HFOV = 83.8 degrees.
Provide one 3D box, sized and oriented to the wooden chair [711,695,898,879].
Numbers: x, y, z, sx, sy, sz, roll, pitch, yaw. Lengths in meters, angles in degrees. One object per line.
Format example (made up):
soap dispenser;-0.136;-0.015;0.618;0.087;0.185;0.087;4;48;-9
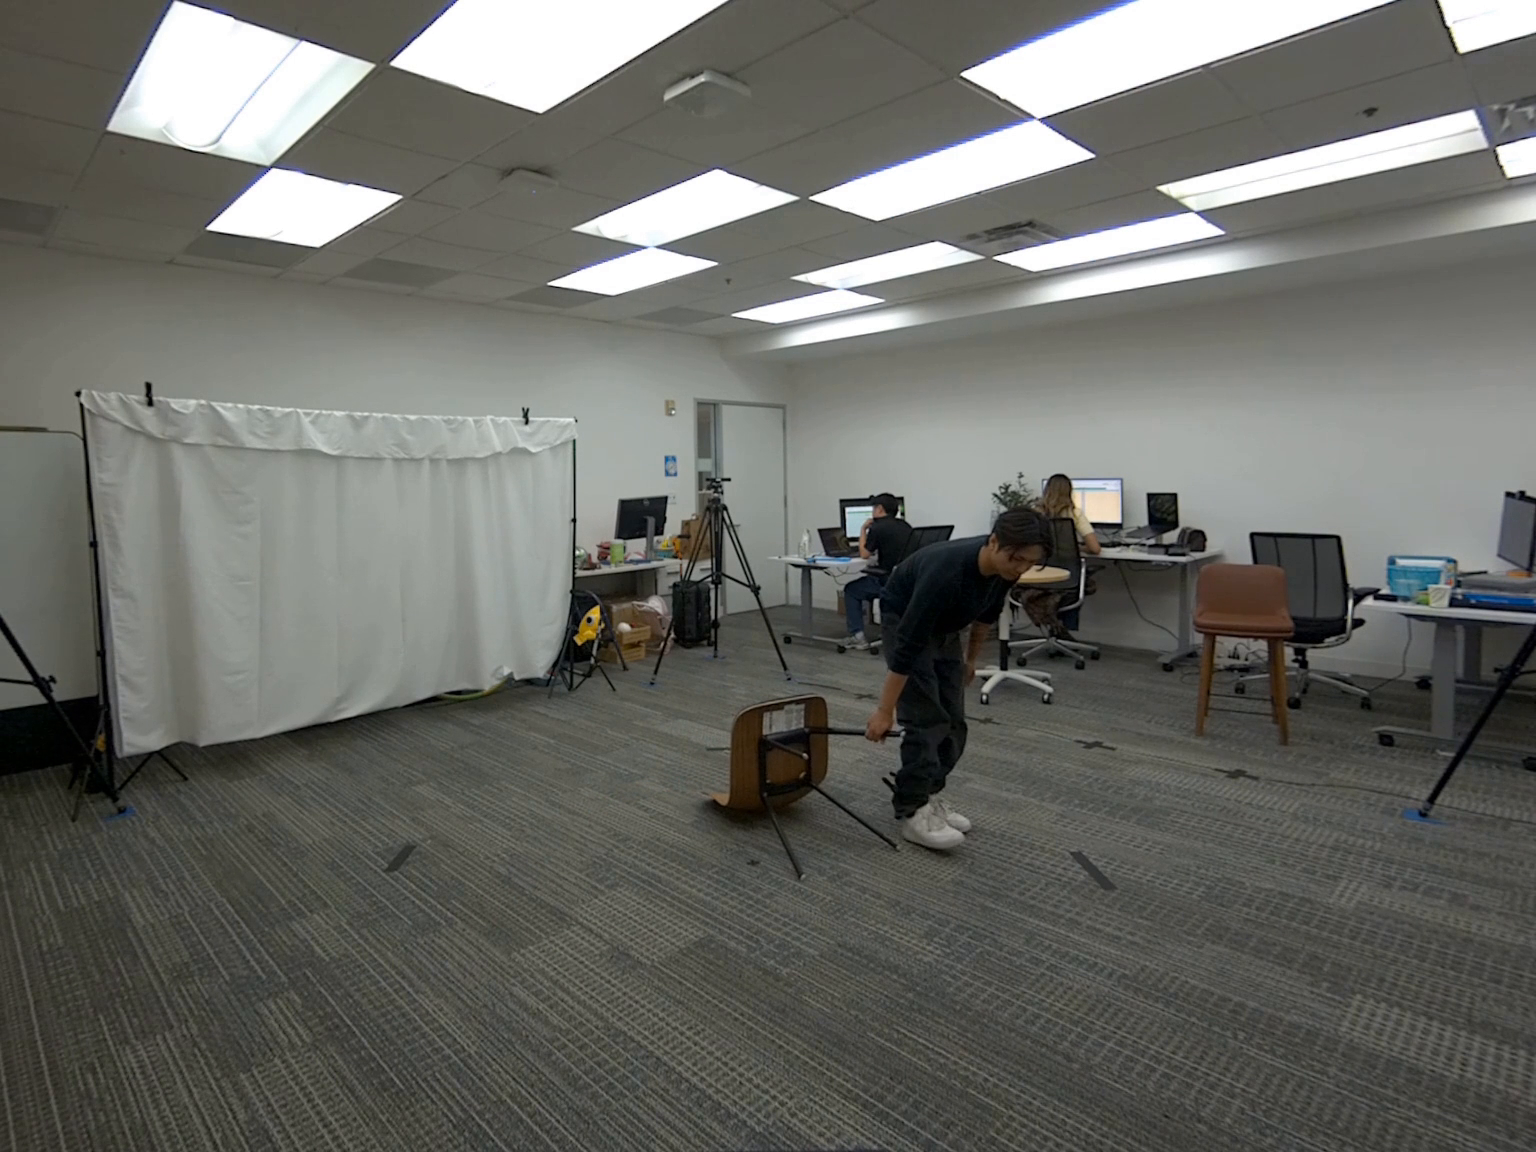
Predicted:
wooden chair;0.077;0.742;3.412;0.467;0.521;0.901;-4;5;-31
